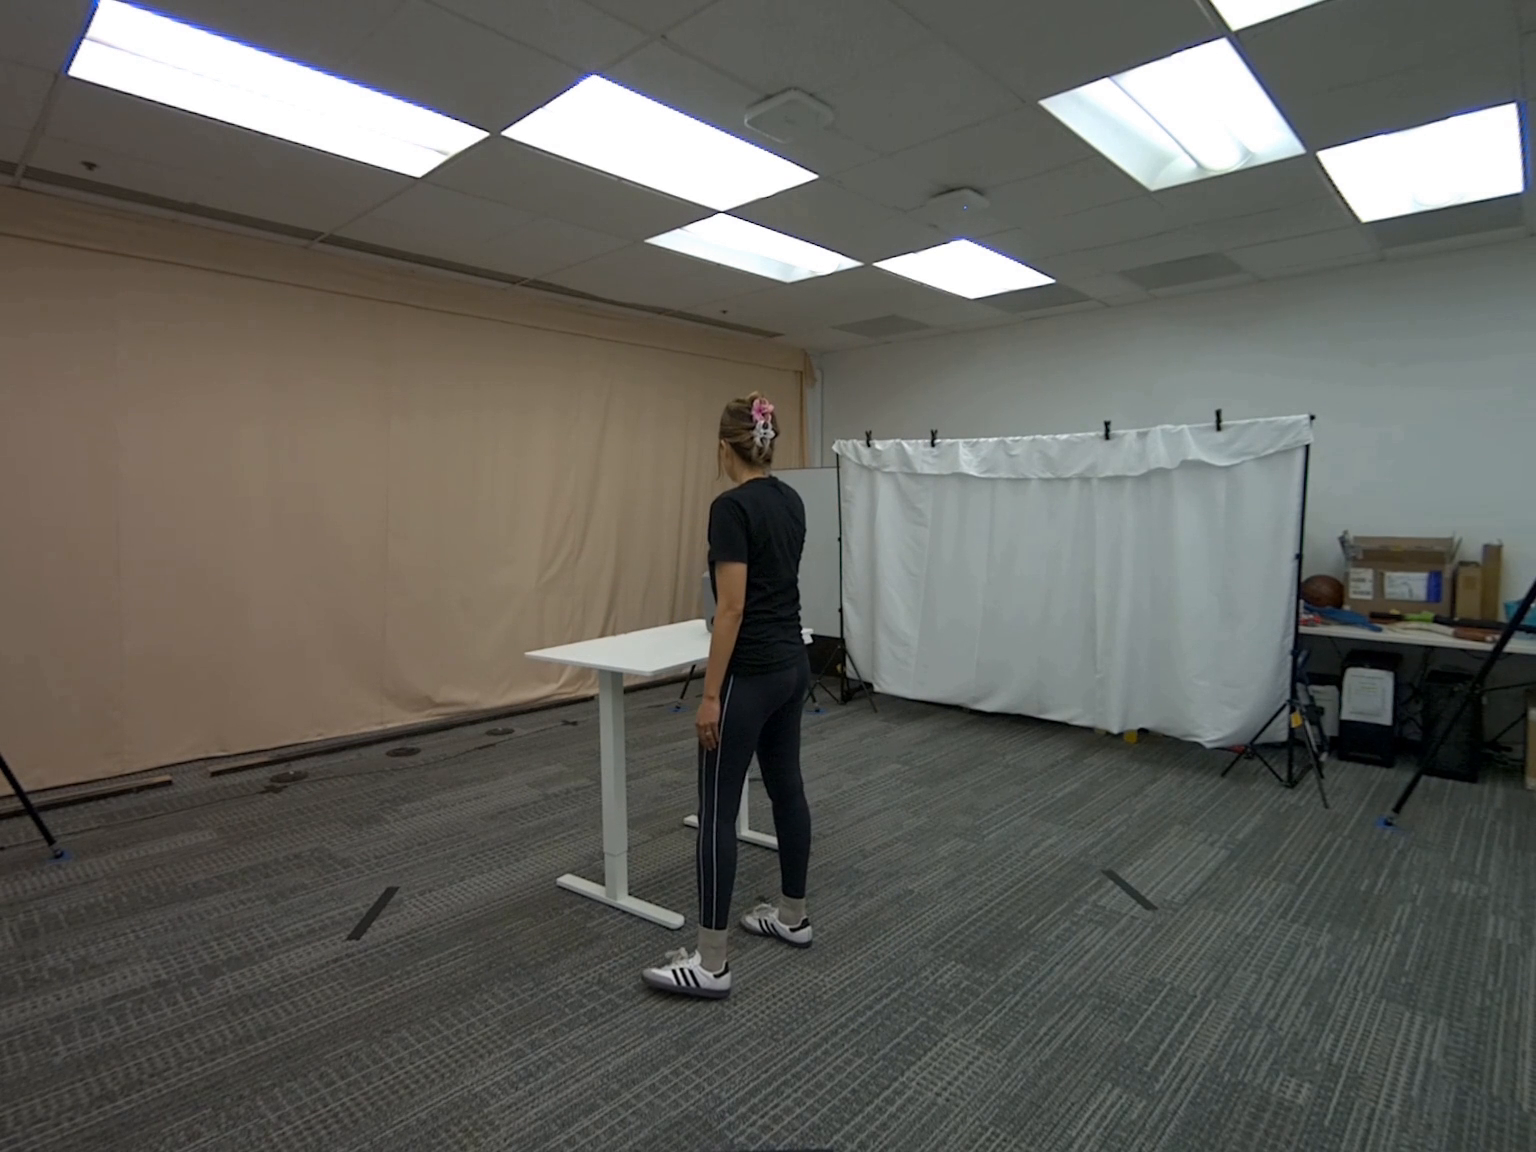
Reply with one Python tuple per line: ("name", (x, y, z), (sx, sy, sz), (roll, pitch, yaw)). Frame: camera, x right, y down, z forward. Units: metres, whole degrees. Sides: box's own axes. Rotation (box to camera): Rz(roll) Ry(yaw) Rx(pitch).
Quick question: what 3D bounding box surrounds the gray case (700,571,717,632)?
("gray case", (-0.127, 0.099, 3.325), (0.264, 0.258, 0.102), (0, 15, 27))
